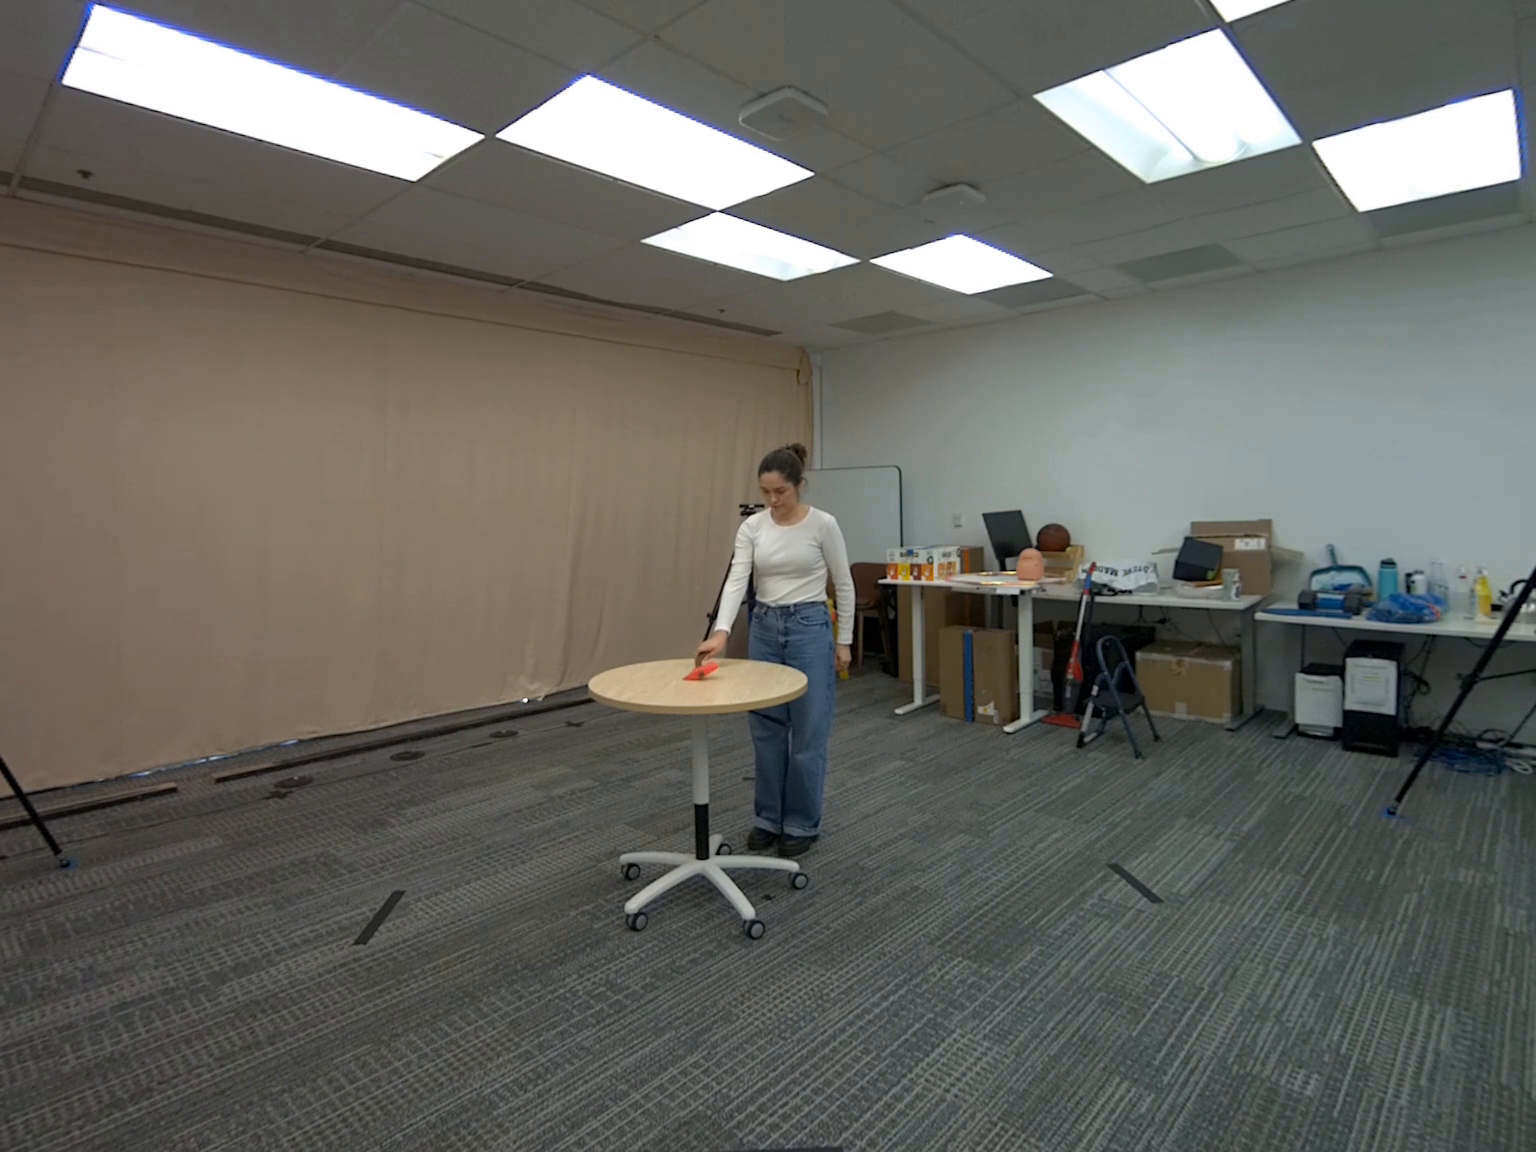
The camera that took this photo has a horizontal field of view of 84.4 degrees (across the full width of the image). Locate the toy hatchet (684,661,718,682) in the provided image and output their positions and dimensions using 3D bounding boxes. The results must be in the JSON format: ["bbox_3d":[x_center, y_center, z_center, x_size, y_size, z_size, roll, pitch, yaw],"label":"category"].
[{"bbox_3d":[-0.217,0.303,3.053,0.132,0.029,0.270,-21,12,11],"label":"toy hatchet"}]
